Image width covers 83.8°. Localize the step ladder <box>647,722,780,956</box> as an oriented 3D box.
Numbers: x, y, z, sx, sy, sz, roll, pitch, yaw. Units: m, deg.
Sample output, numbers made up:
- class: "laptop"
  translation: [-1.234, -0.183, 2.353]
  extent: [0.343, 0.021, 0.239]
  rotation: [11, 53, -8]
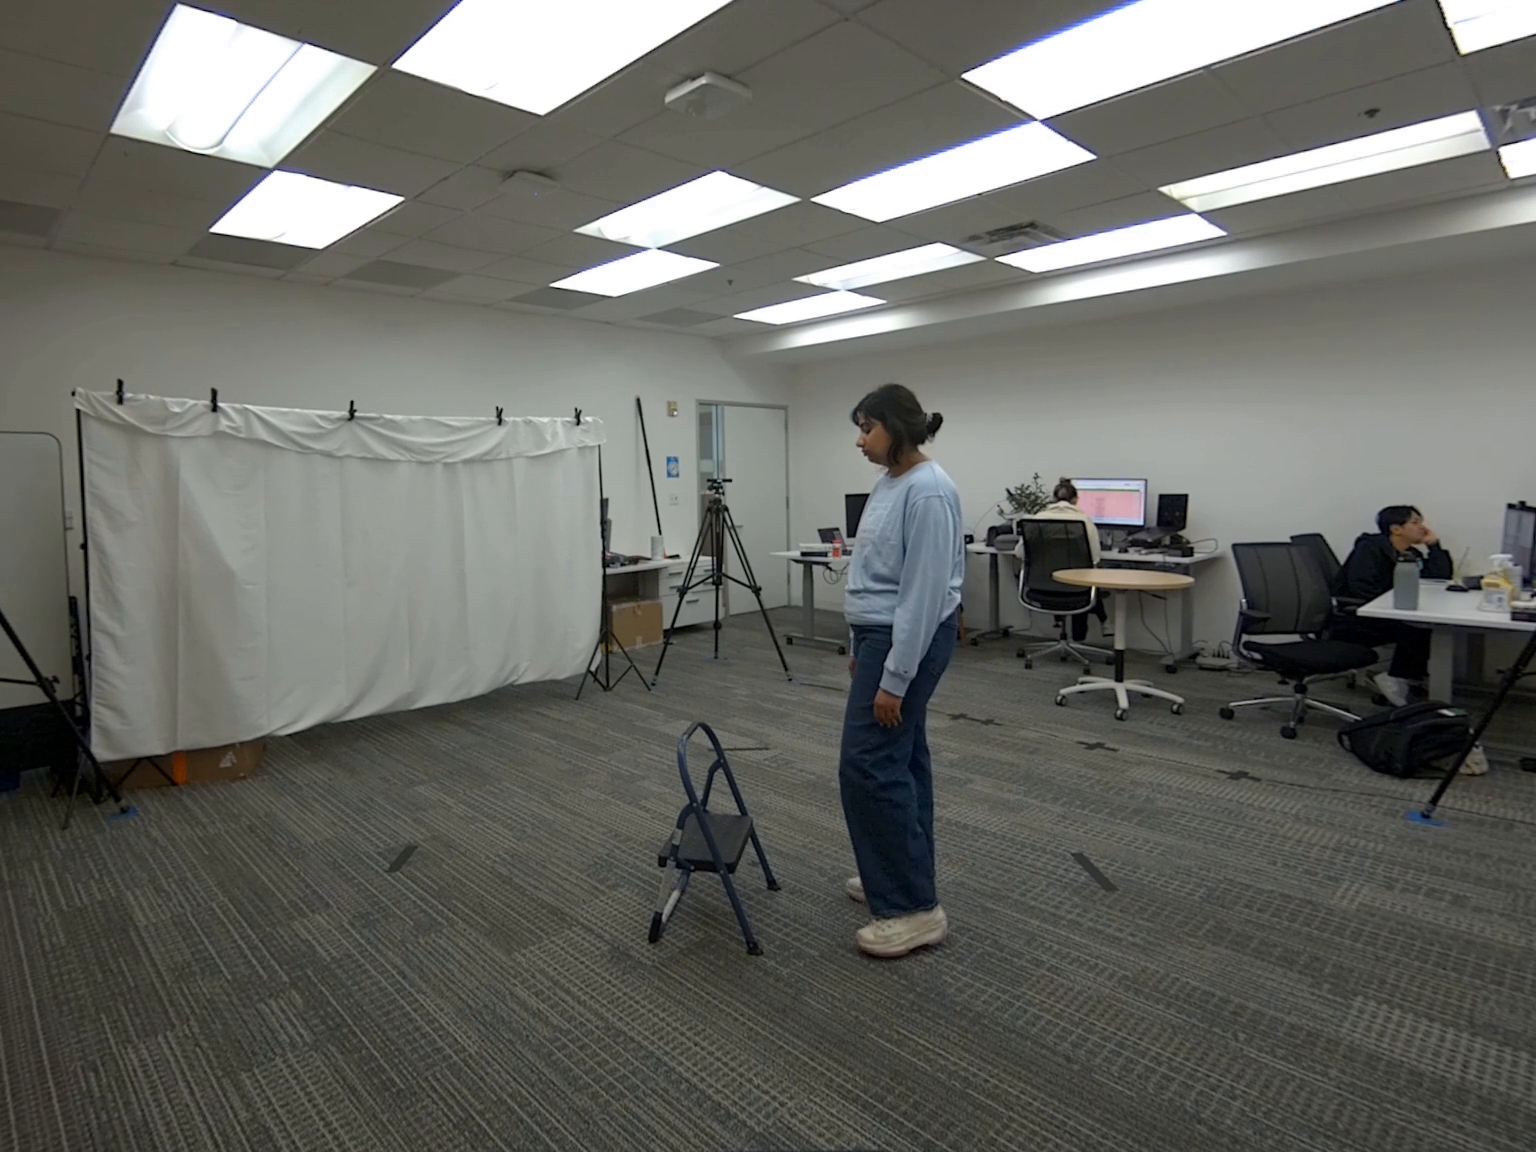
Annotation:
- class: "step ladder"
  translation: [-0.165, 0.789, 2.728]
  extent: [0.353, 0.604, 0.428]
  rotation: [0, 4, 10]
